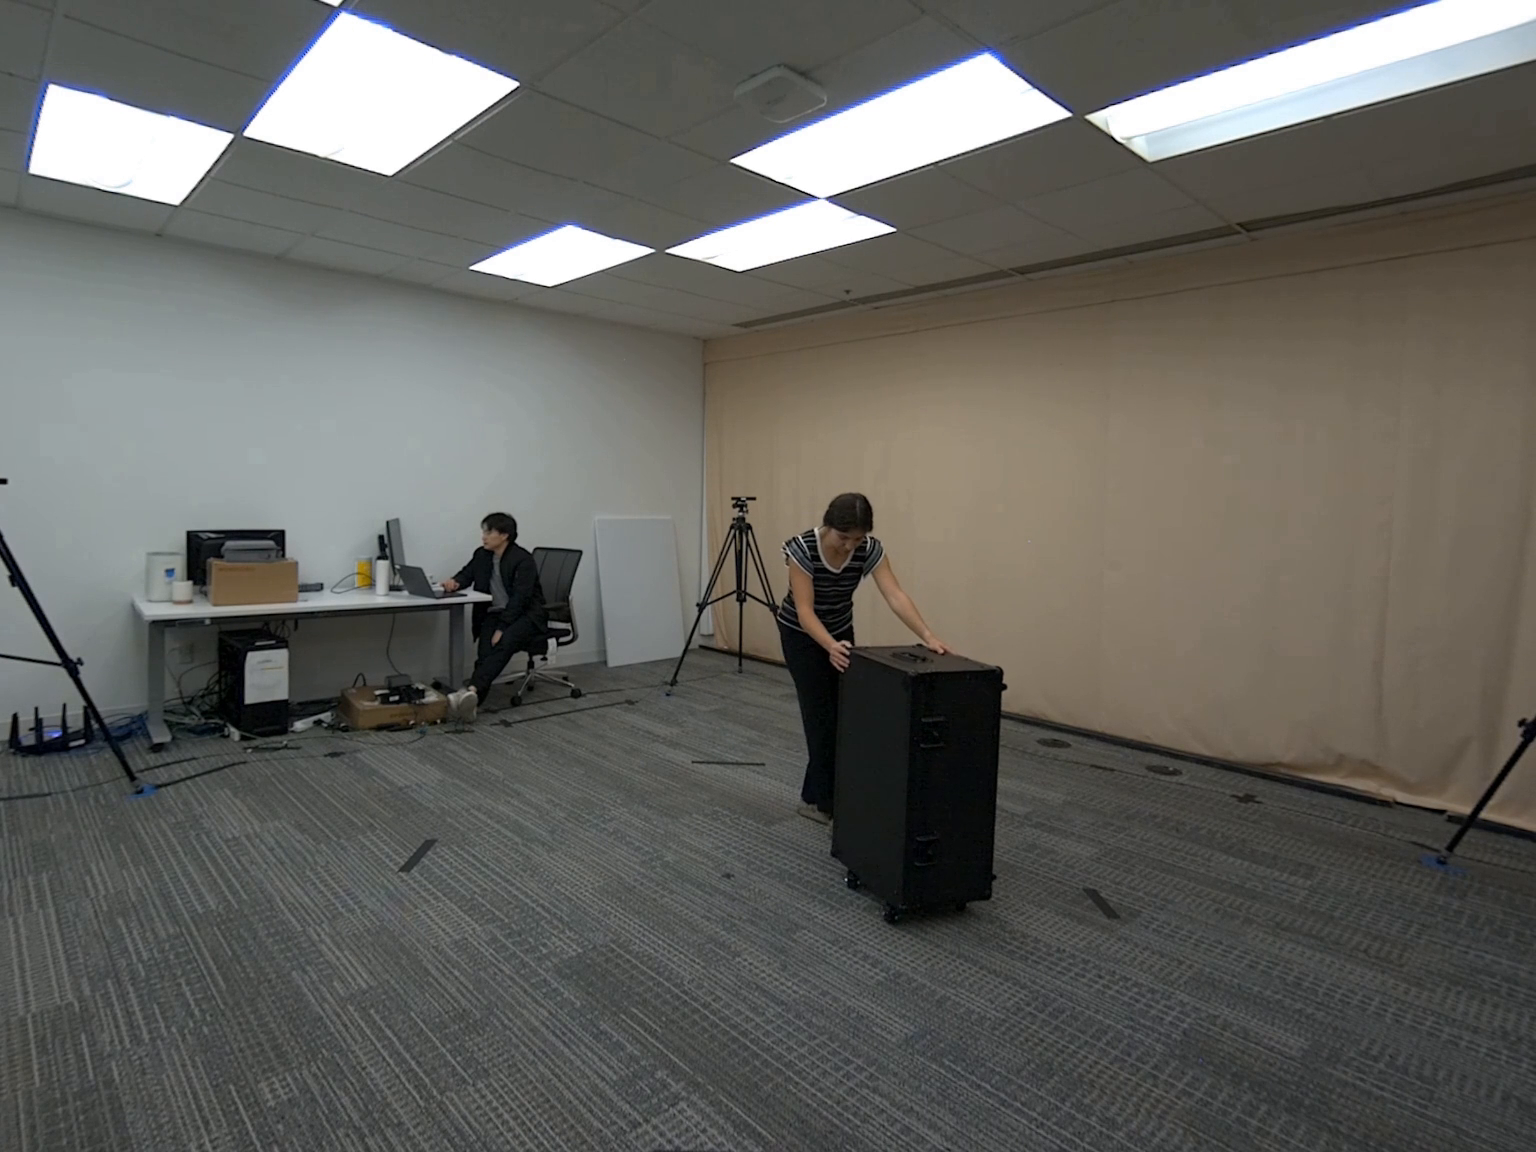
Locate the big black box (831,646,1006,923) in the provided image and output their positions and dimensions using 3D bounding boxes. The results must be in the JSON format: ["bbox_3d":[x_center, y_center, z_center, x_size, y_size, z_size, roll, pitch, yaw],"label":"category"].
[{"bbox_3d":[0.504,0.714,2.971,0.389,0.860,0.531,2,3,-23],"label":"big black box"}]
